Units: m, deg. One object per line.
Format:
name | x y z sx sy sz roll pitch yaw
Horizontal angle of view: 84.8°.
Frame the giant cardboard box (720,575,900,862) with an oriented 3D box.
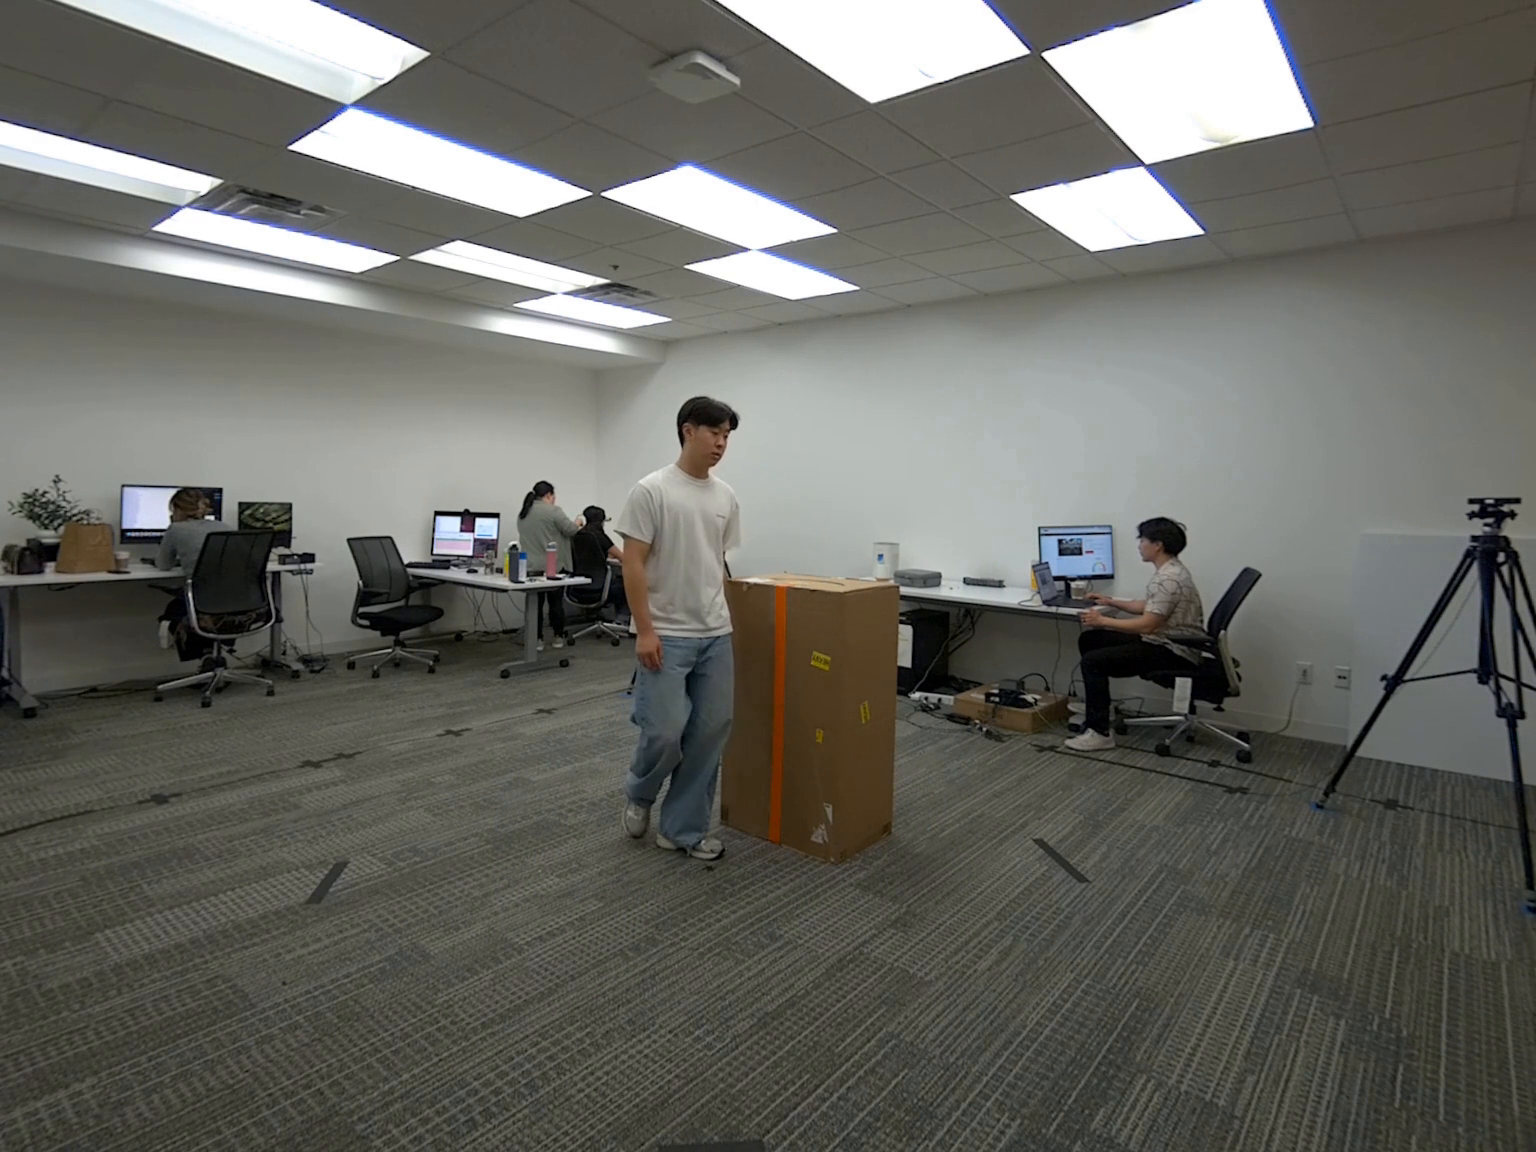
giant cardboard box | 0.158 0.529 3.481 0.597 1.023 0.413 4 4 39
